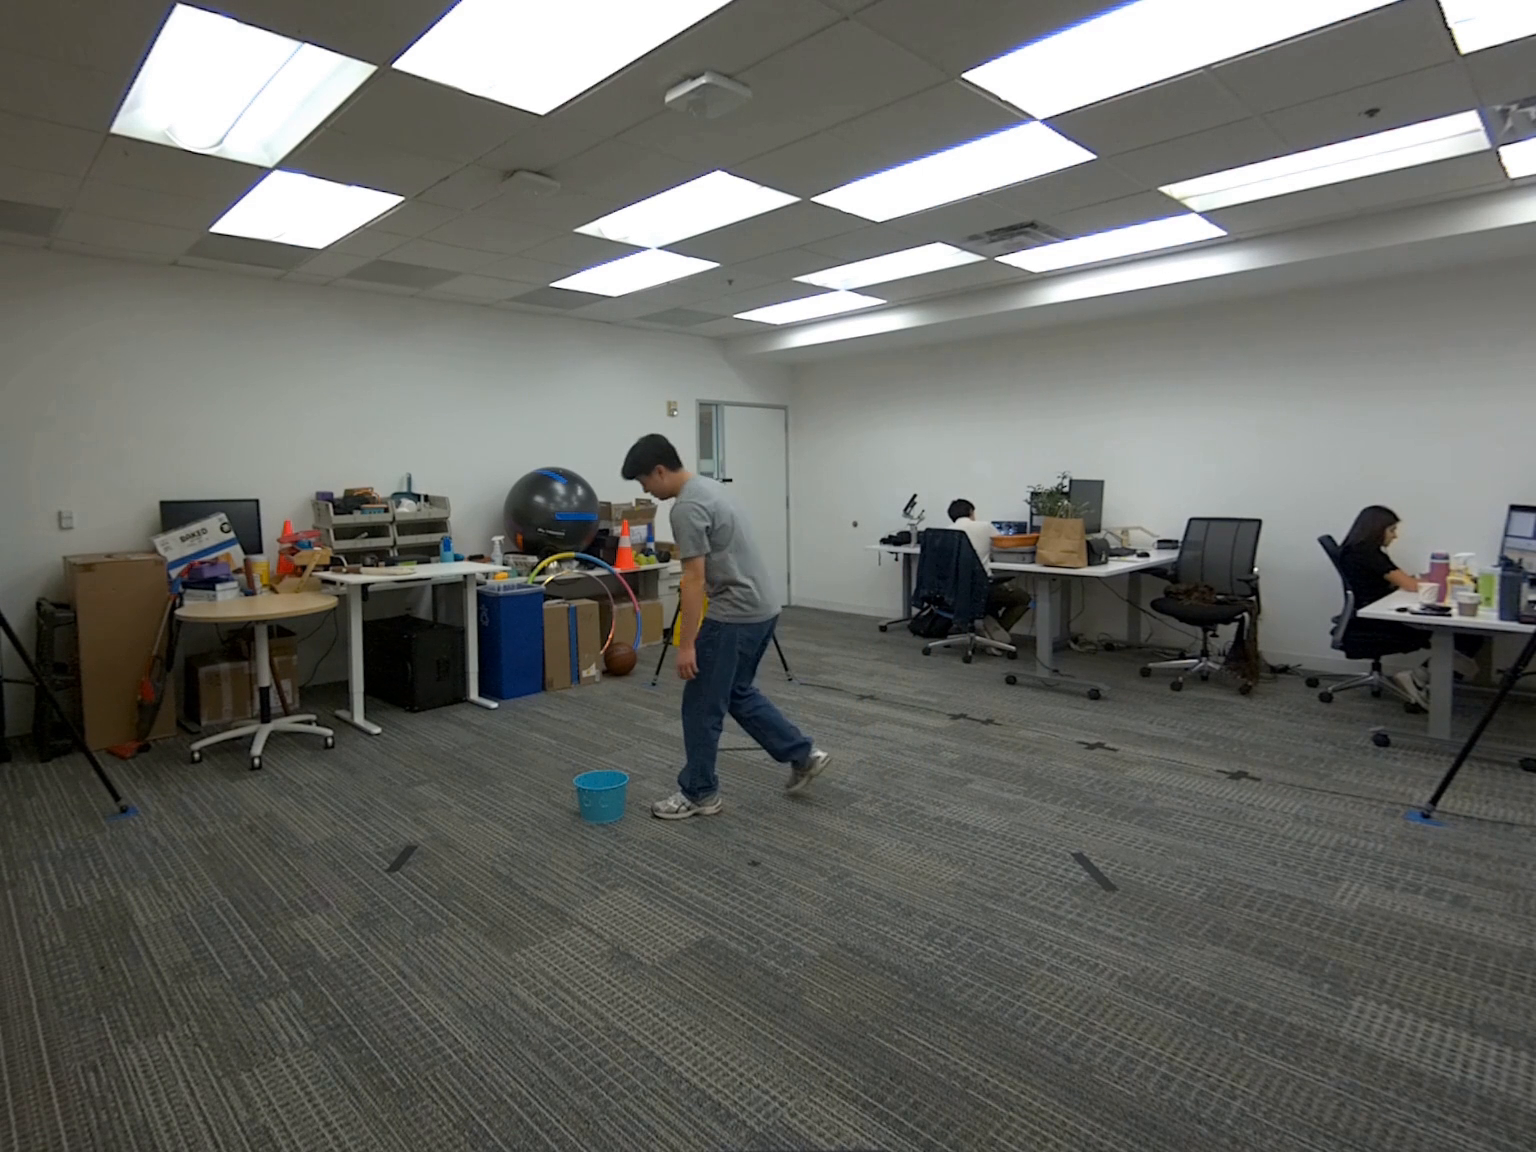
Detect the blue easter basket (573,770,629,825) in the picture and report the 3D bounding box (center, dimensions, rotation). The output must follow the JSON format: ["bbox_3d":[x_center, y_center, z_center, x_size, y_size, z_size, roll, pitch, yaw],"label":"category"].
[{"bbox_3d":[-0.693,0.923,3.593,0.243,0.155,0.245,-1,6,-2],"label":"blue easter basket"}]
